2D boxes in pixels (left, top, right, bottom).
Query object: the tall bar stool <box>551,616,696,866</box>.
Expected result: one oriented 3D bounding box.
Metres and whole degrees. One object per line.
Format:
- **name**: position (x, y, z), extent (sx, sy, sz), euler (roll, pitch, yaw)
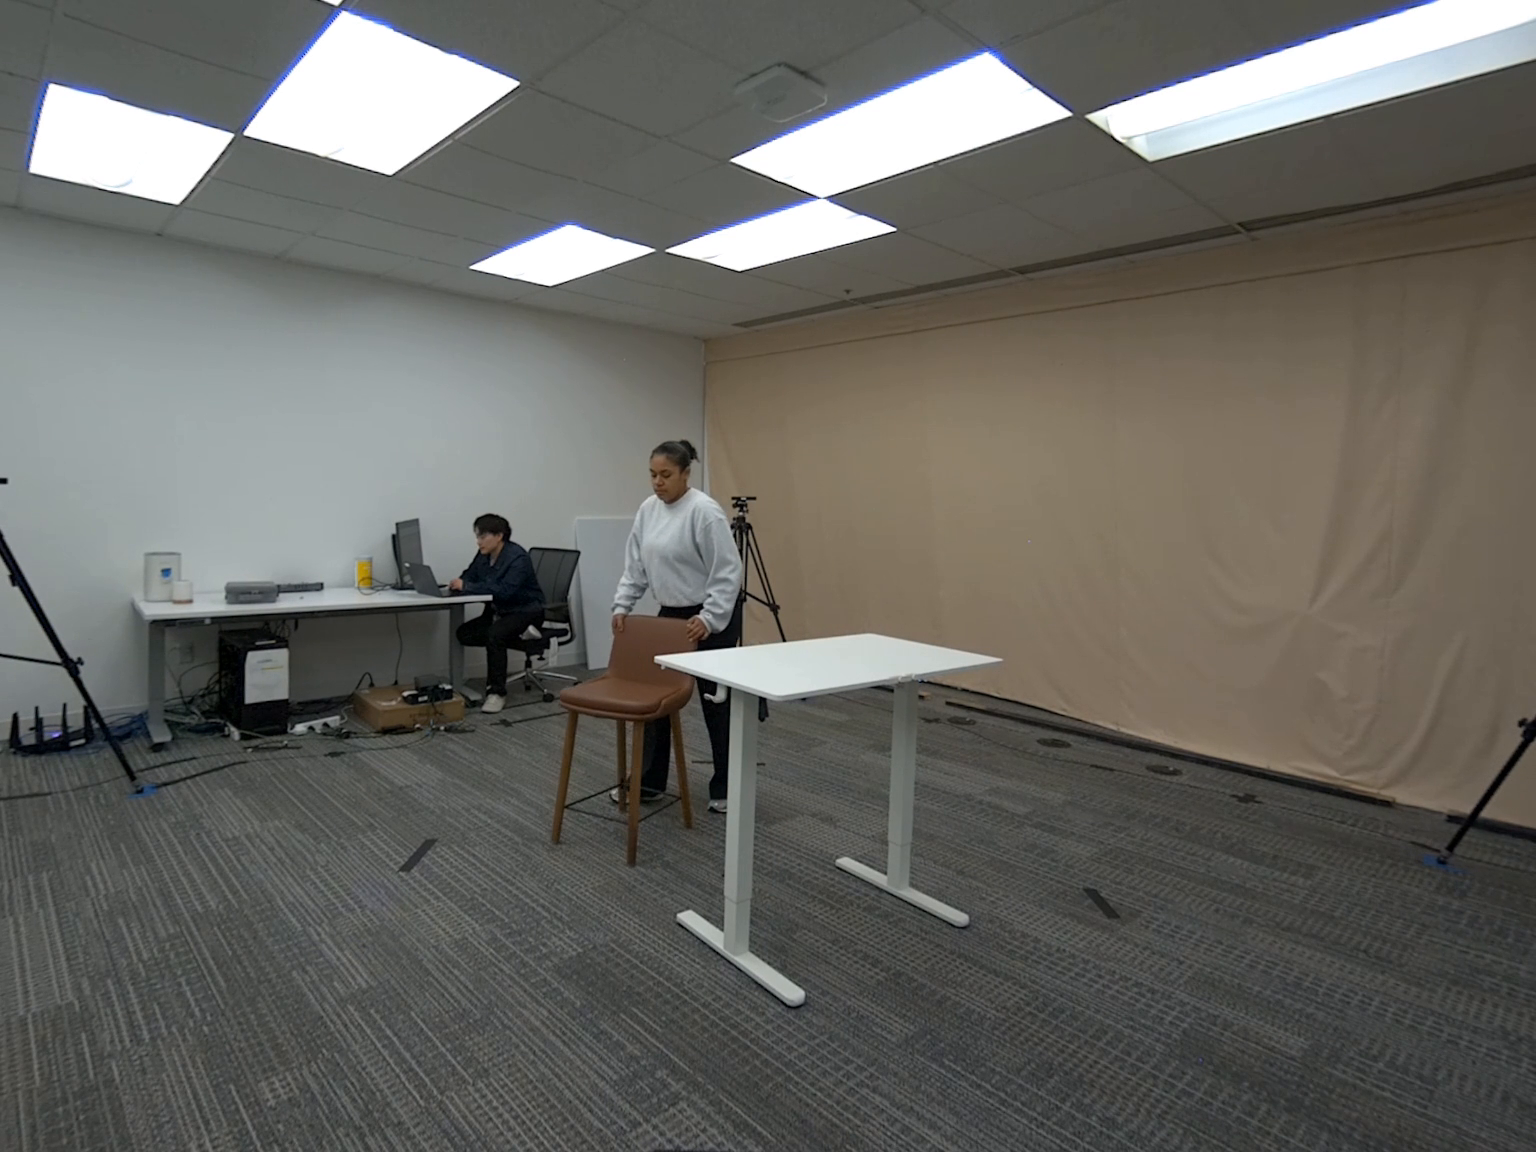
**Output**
- **tall bar stool**: position (-0.576, 0.631, 3.434), extent (0.466, 0.889, 0.458), euler (3, 2, 30)
